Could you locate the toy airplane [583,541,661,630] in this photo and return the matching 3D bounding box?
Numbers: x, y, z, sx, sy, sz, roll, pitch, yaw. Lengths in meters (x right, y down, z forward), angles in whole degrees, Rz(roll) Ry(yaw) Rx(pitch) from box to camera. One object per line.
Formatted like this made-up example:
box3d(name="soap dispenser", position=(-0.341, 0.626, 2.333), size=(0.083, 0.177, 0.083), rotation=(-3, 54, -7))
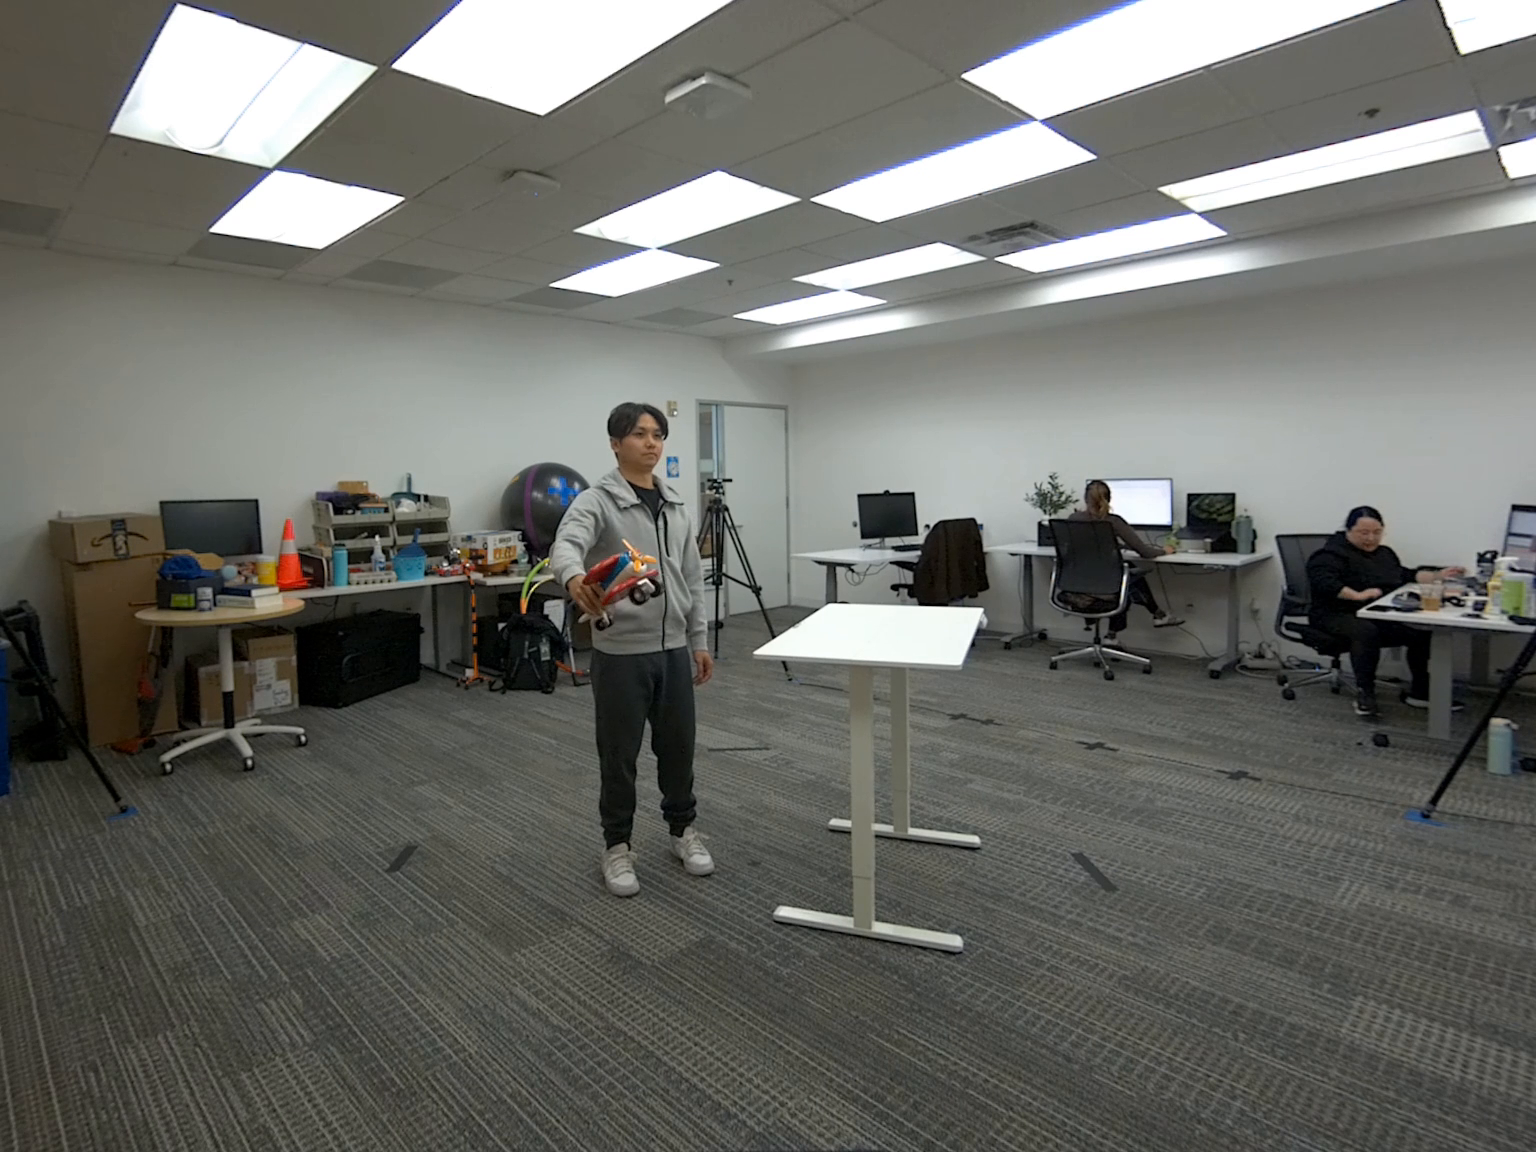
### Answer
box3d(name="toy airplane", position=(-0.427, 0.043, 2.342), size=(0.259, 0.157, 0.251), rotation=(-31, 0, -2))
